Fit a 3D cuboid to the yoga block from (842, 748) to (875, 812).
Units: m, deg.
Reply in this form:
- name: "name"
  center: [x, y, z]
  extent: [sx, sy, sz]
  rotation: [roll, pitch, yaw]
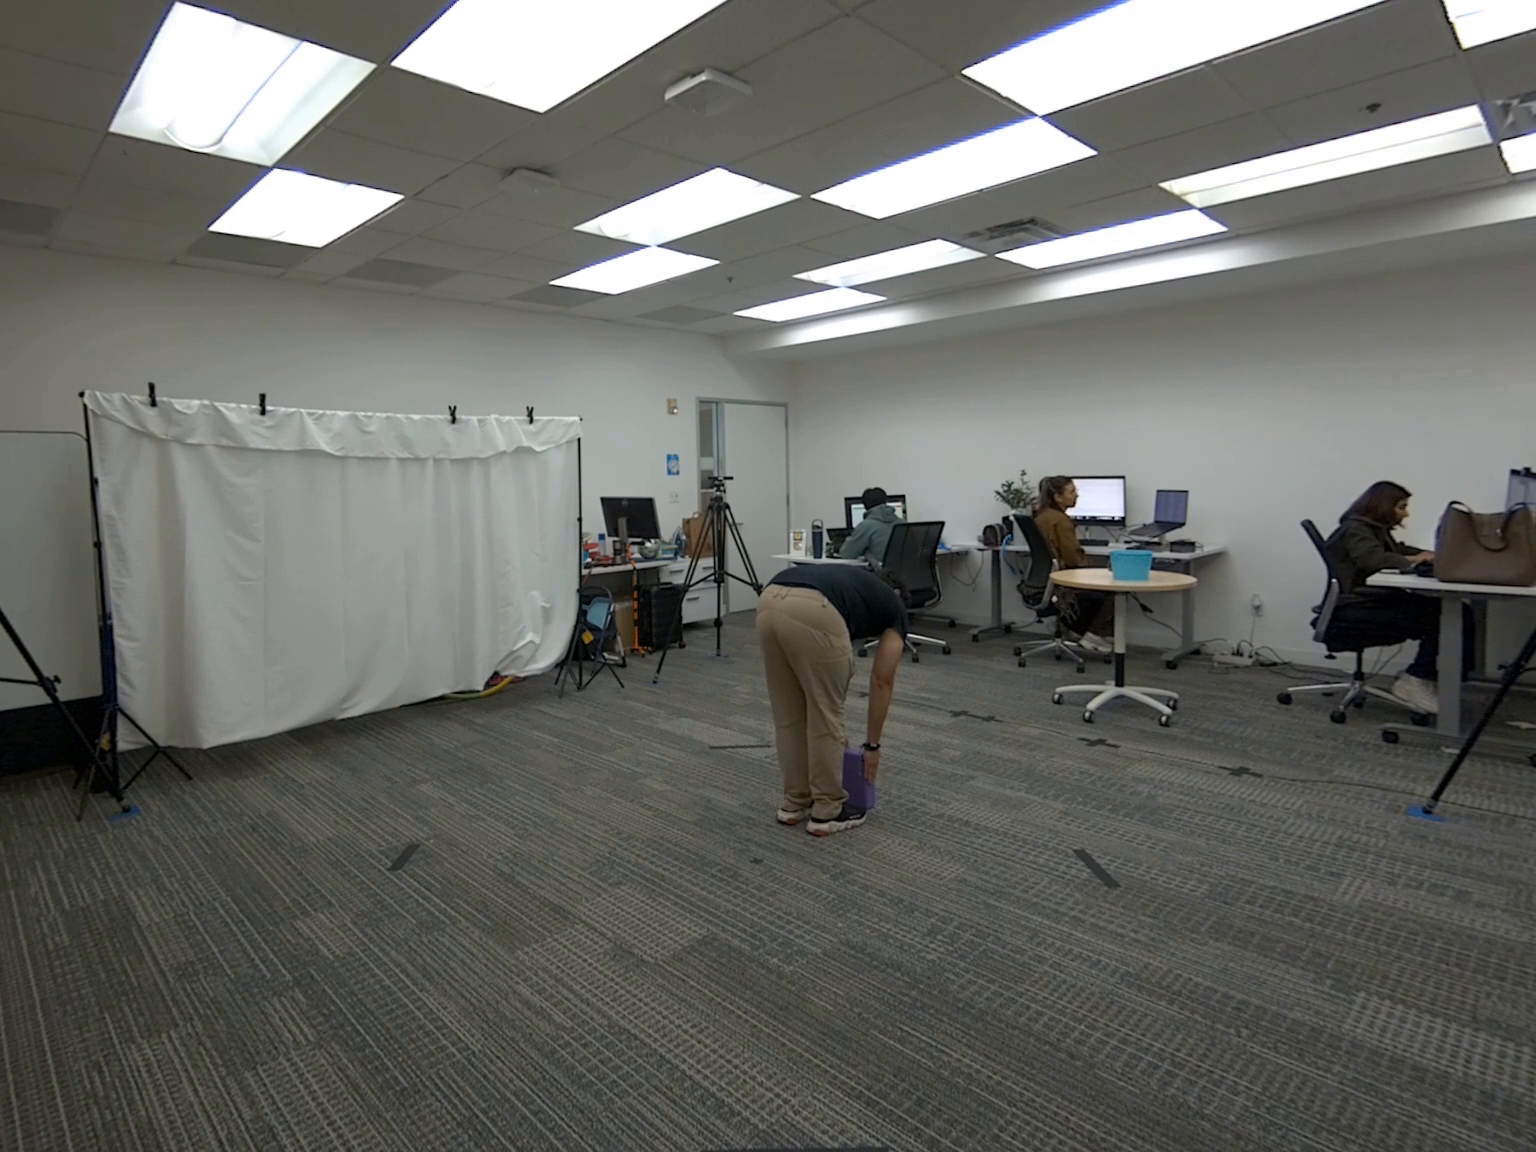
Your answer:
- name: "yoga block"
  center: [0.374, 0.855, 3.621]
  extent: [0.074, 0.228, 0.153]
  rotation: [-3, 5, -43]
